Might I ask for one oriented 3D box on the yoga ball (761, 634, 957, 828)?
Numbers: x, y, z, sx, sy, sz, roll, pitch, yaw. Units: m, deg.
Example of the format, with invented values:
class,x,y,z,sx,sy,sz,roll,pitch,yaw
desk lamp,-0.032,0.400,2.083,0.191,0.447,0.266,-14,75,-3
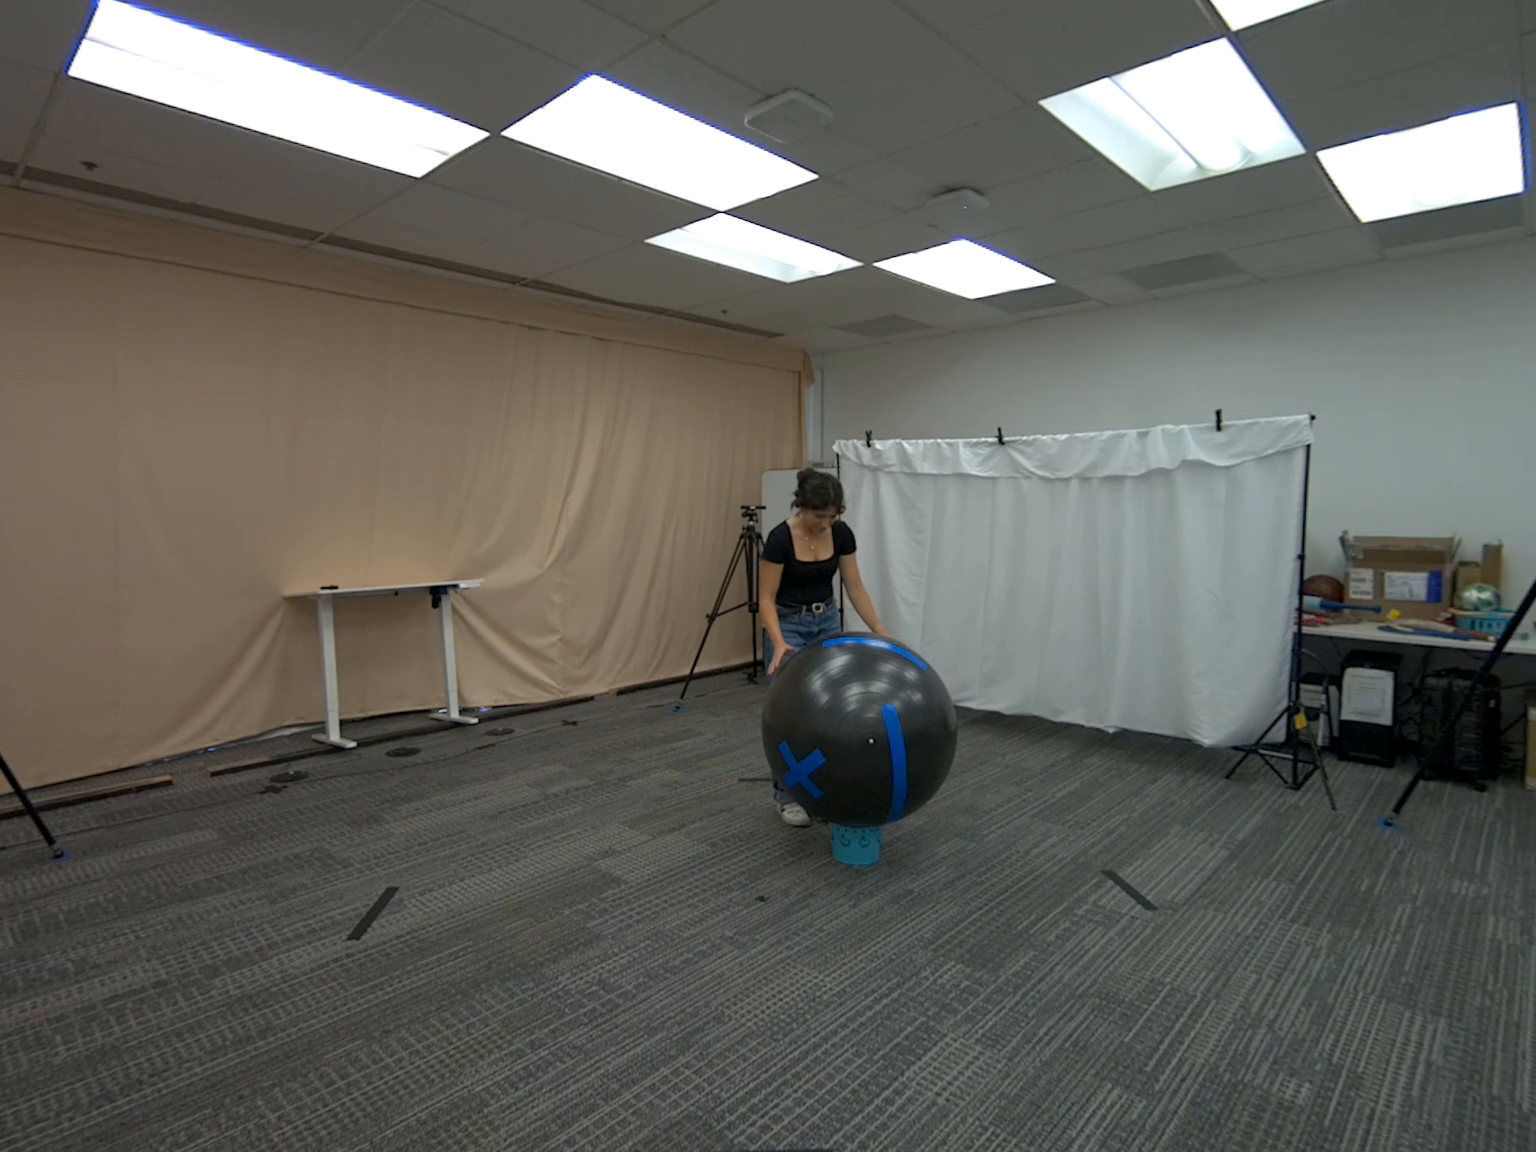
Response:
class,x,y,z,sx,sy,sz,roll,pitch,yaw
yoga ball,0.360,0.606,3.331,0.757,0.756,0.760,0,4,-2
